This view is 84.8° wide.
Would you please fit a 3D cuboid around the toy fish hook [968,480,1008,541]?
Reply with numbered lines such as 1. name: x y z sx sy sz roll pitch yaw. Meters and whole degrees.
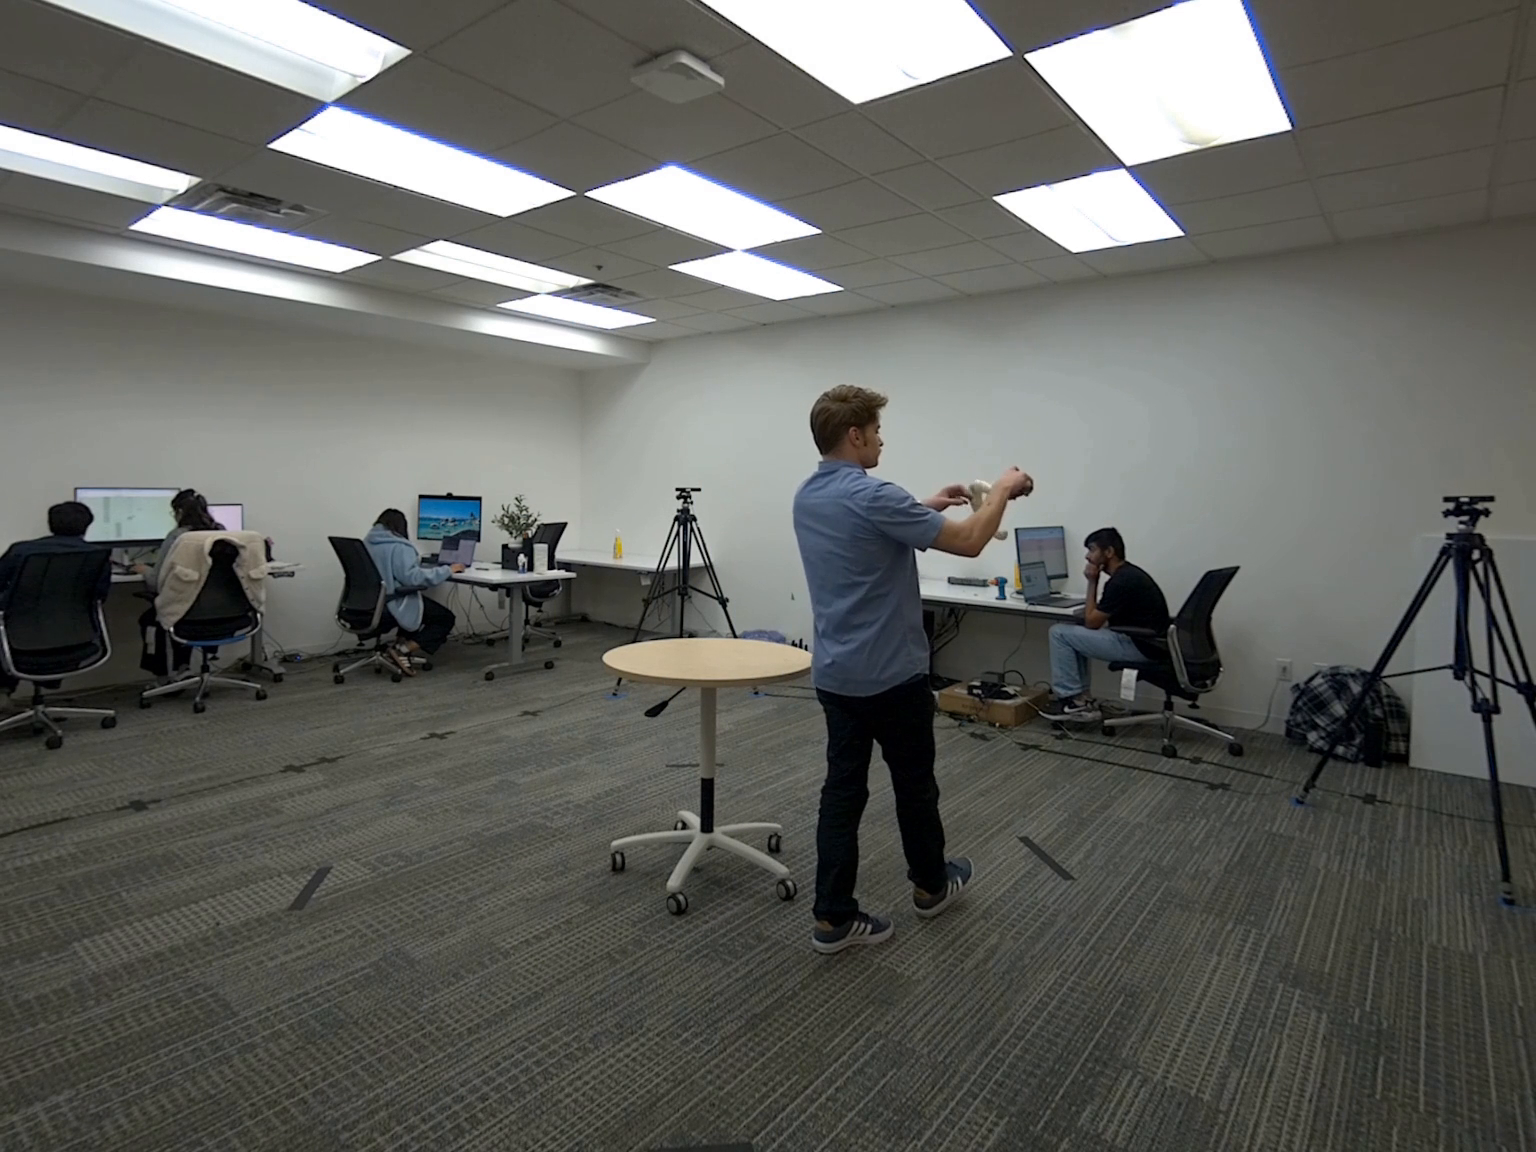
1. toy fish hook: 0.777 -0.231 2.804 0.048 0.224 0.508 -28 3 -5
